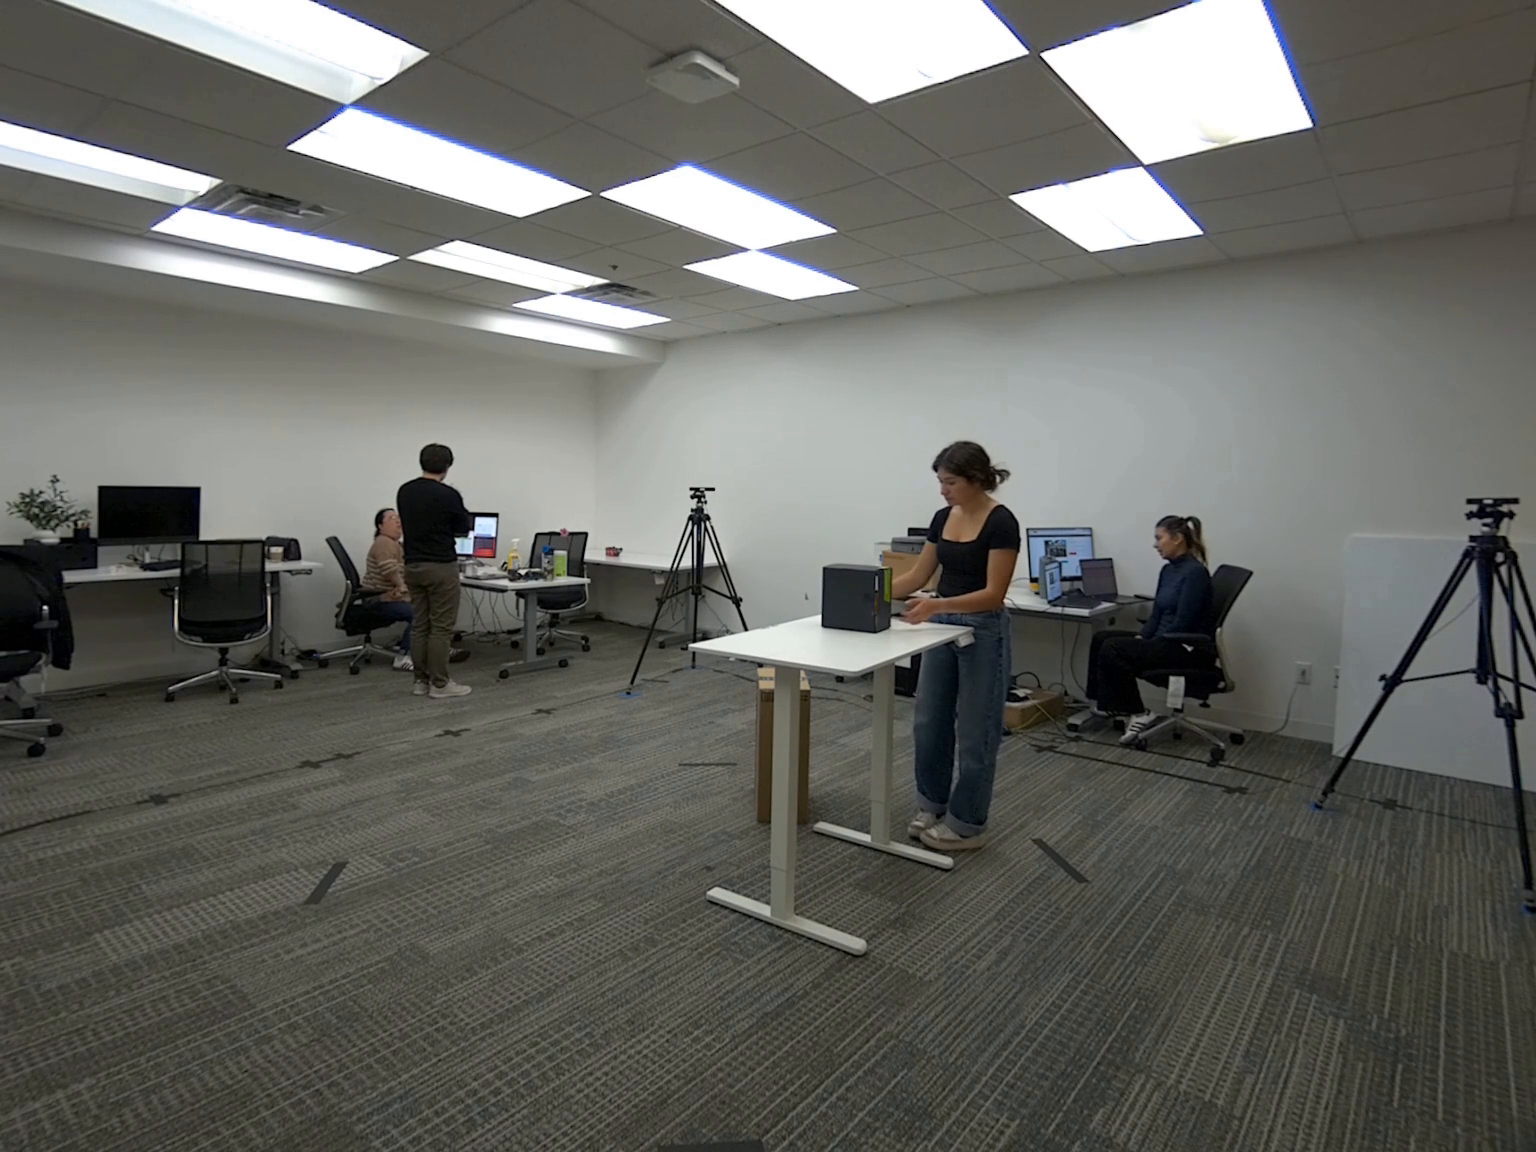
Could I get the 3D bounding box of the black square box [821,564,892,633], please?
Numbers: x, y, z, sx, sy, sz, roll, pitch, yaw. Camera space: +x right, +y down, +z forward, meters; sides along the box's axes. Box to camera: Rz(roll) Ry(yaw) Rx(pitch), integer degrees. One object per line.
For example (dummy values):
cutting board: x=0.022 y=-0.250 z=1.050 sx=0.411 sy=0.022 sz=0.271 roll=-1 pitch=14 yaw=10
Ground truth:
black square box: x=0.330 y=0.076 z=3.151 sx=0.224 sy=0.227 sz=0.151 roll=5 pitch=5 yaw=38
